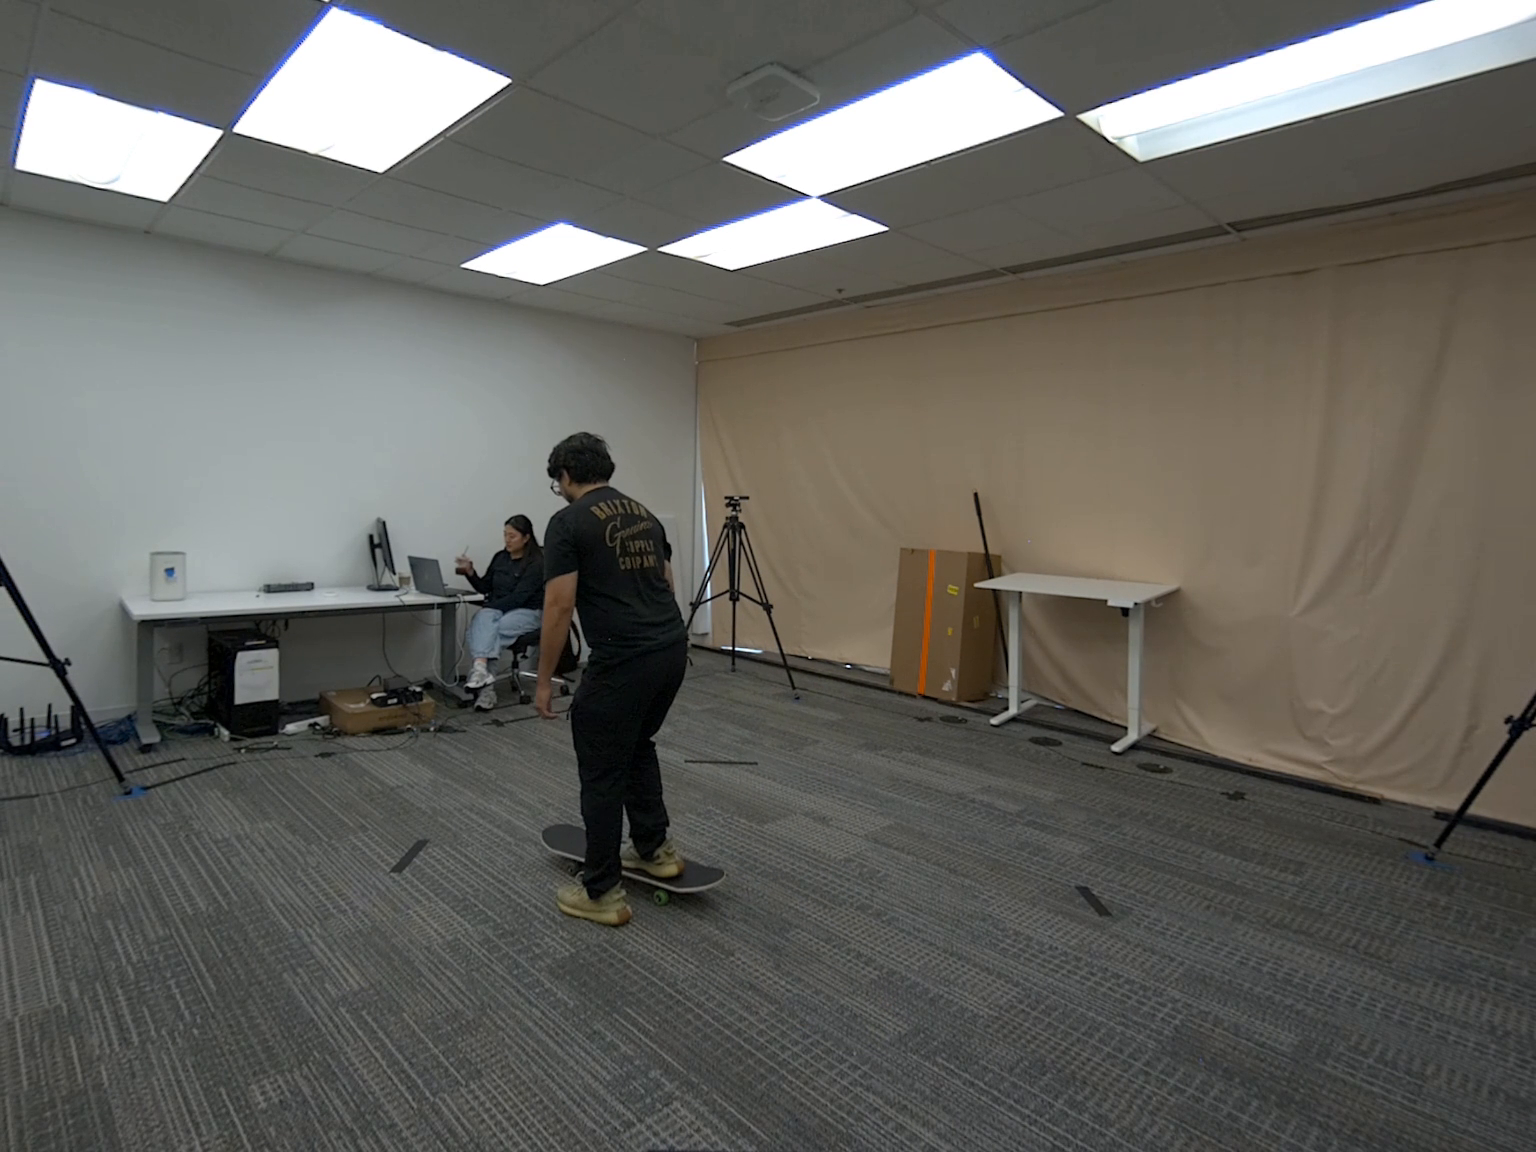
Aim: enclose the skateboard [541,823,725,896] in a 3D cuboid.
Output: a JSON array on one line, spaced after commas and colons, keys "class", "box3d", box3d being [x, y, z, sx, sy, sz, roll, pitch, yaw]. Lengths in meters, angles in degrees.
[{"class": "skateboard", "box3d": [-0.509, 1.049, 3.031, 0.803, 0.110, 0.190, 4, 8, 30]}]
